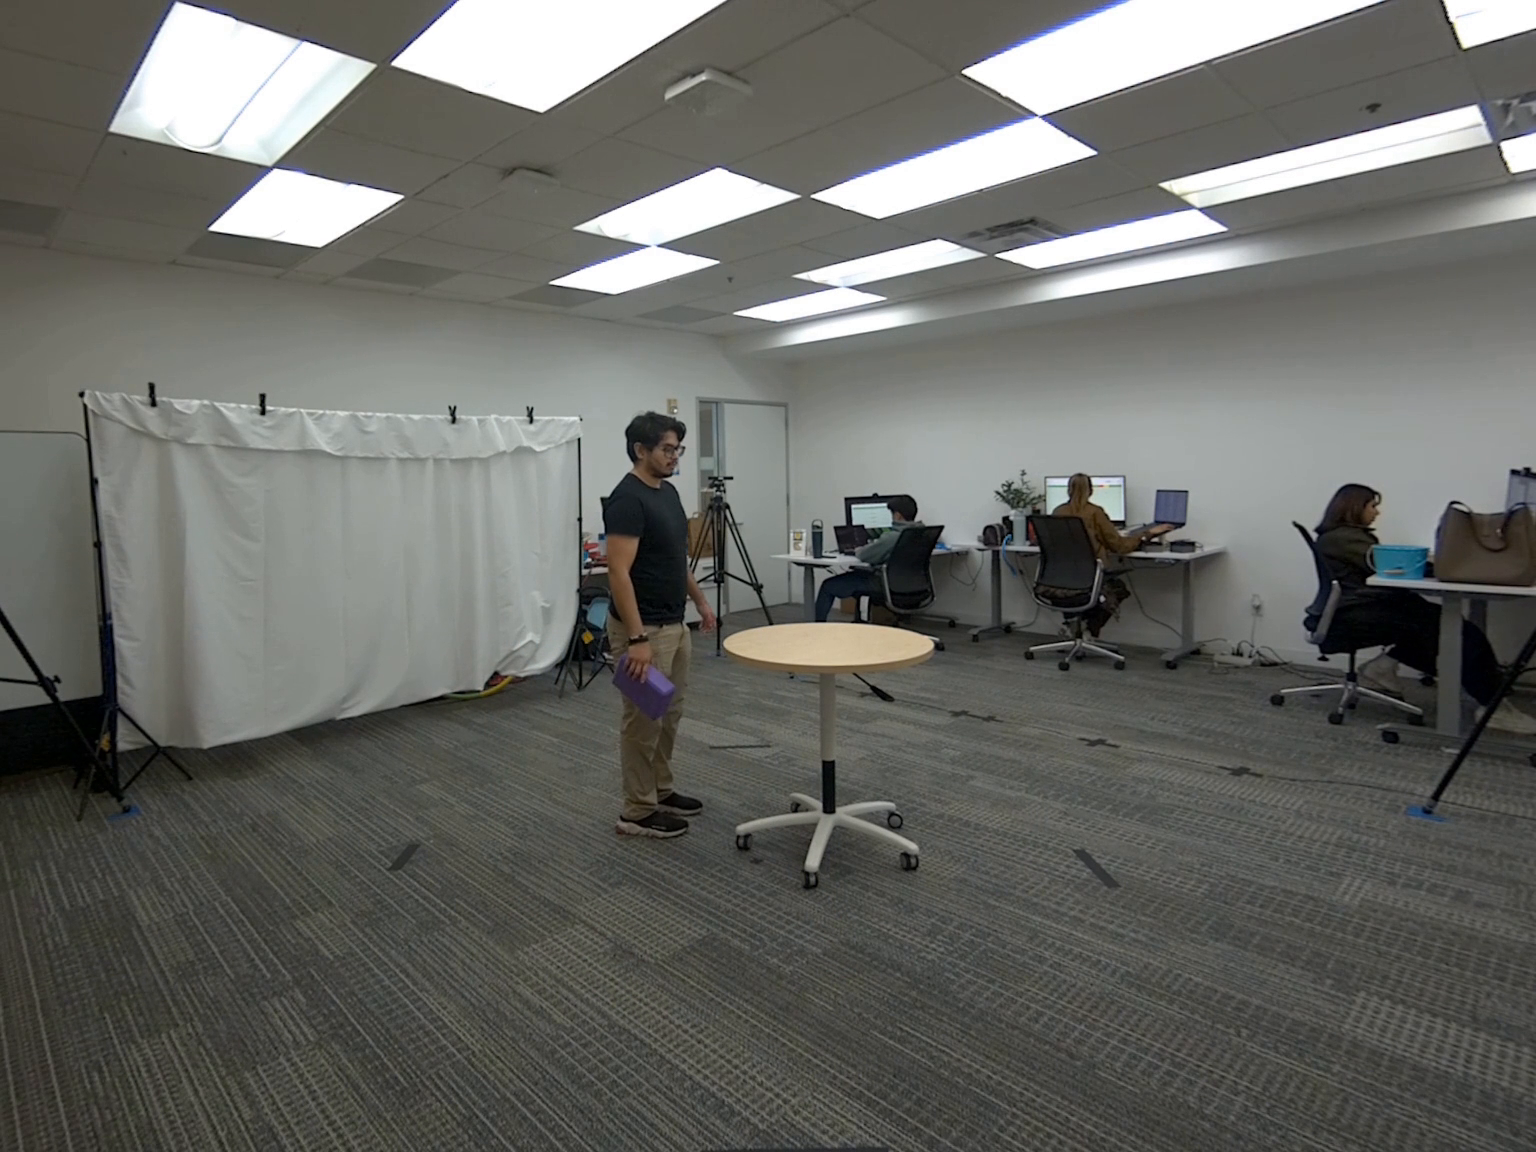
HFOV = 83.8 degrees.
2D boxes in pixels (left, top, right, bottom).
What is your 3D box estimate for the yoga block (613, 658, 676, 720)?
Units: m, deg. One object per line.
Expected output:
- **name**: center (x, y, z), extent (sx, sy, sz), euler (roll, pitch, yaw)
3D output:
- **yoga block**: center (-0.450, 0.397, 3.119), extent (0.236, 0.147, 0.075), euler (38, 35, 22)
